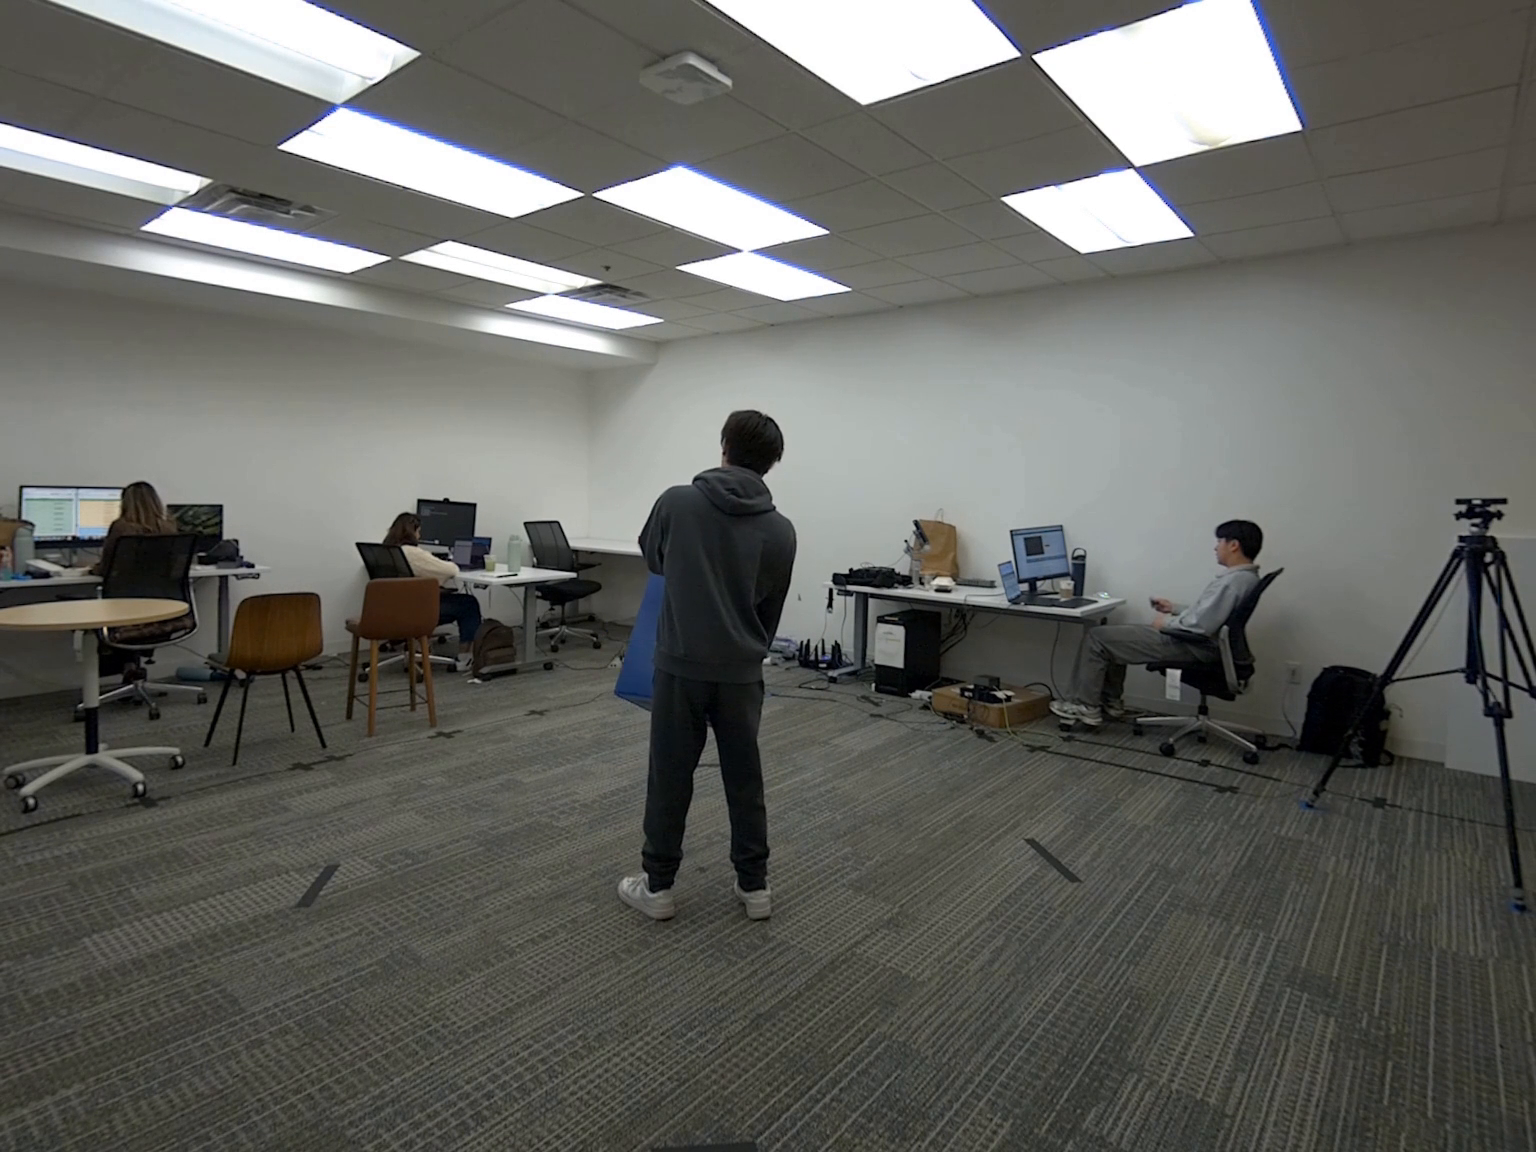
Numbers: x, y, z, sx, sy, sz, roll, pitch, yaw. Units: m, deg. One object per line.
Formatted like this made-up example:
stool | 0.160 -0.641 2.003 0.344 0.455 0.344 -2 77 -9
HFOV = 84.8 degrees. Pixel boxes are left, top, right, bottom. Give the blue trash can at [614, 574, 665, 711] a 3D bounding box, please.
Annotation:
blue trash can | -0.278 0.157 3.196 0.385 0.722 0.362 -3 -28 42
